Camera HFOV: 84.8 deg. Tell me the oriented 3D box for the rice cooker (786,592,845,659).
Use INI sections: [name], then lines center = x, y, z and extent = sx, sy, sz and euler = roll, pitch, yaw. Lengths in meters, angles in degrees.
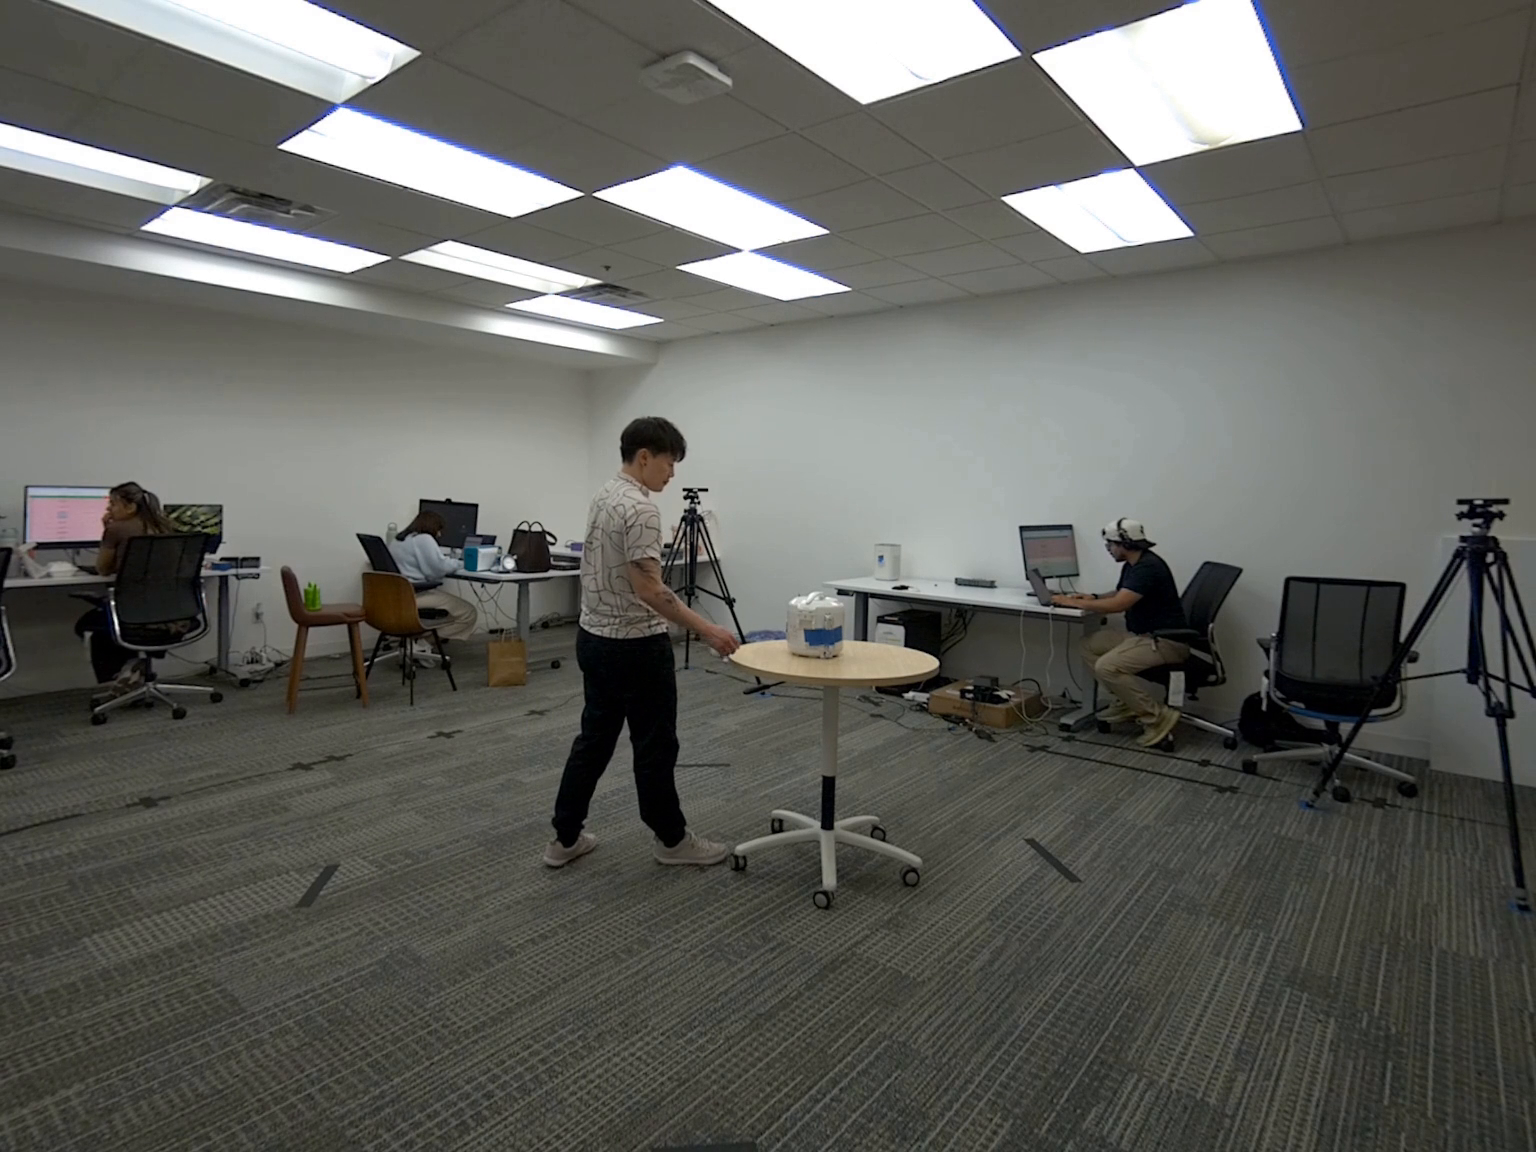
[rice cooker]
center = 0.166, 0.177, 3.166
extent = 0.223, 0.232, 0.216
euler = 3, 4, 24
